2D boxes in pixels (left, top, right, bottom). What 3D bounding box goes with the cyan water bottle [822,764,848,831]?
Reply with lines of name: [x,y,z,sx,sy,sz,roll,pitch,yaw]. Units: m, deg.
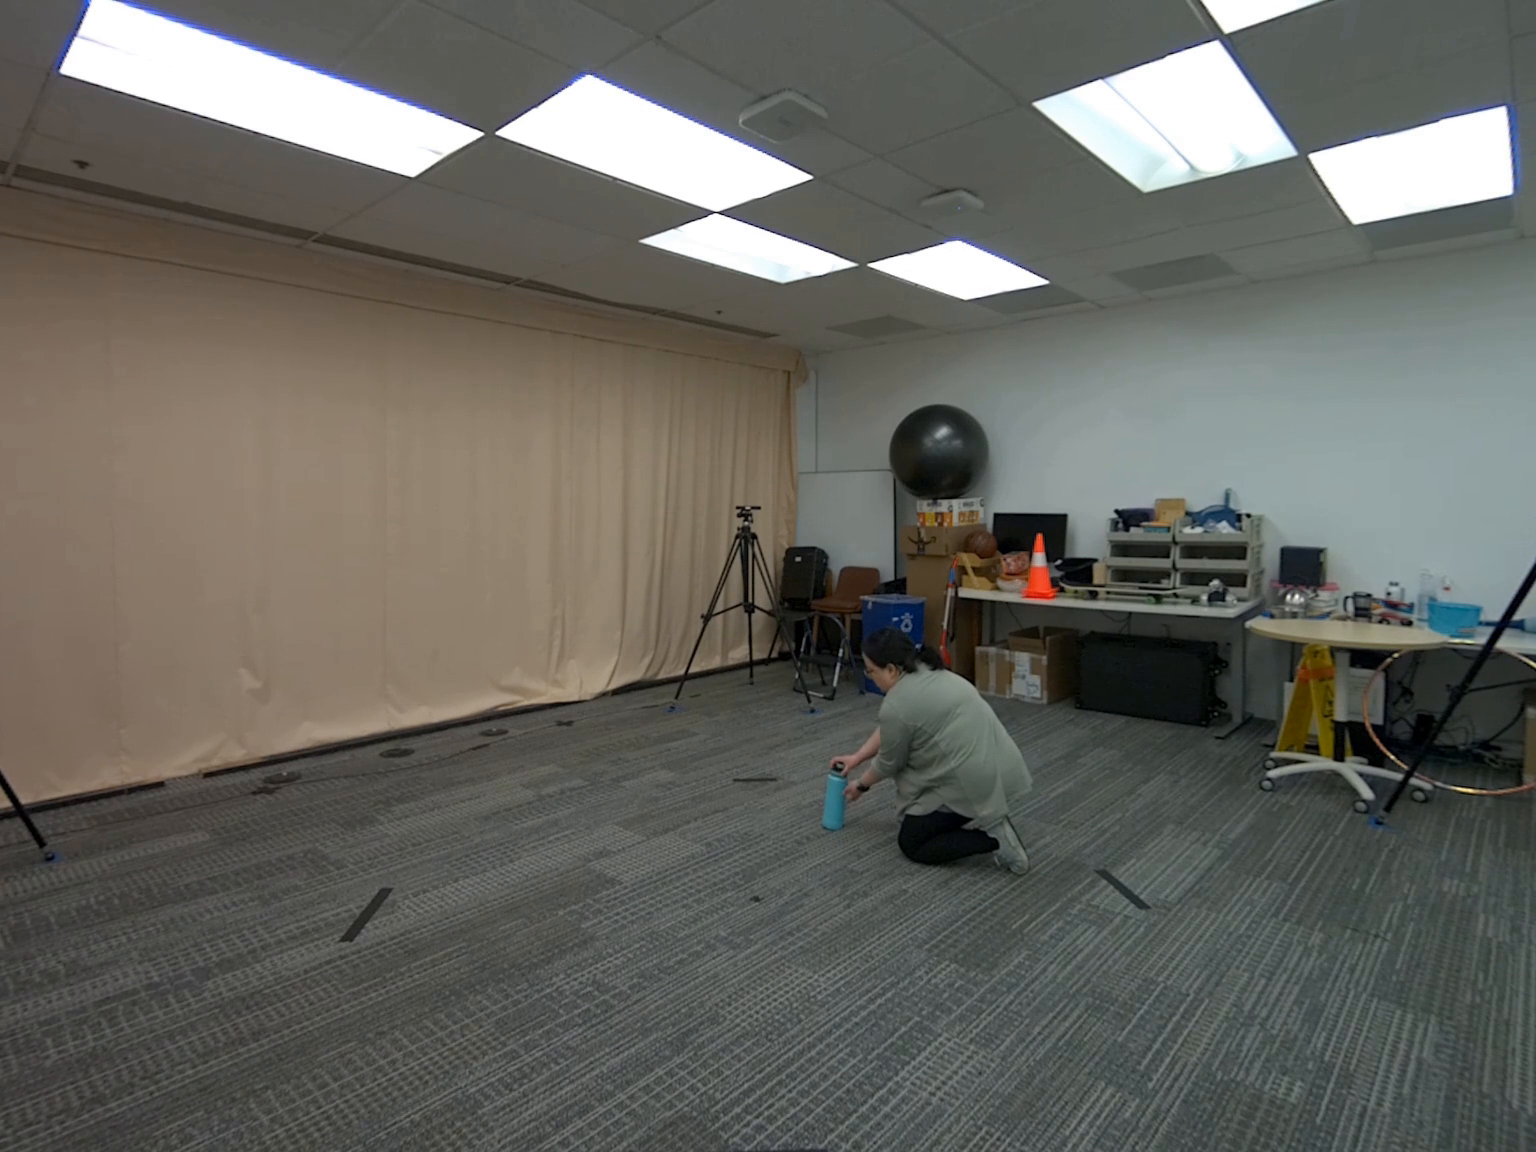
cyan water bottle: [0.299,0.949,3.655,0.092,0.283,0.092,6,3,-2]
